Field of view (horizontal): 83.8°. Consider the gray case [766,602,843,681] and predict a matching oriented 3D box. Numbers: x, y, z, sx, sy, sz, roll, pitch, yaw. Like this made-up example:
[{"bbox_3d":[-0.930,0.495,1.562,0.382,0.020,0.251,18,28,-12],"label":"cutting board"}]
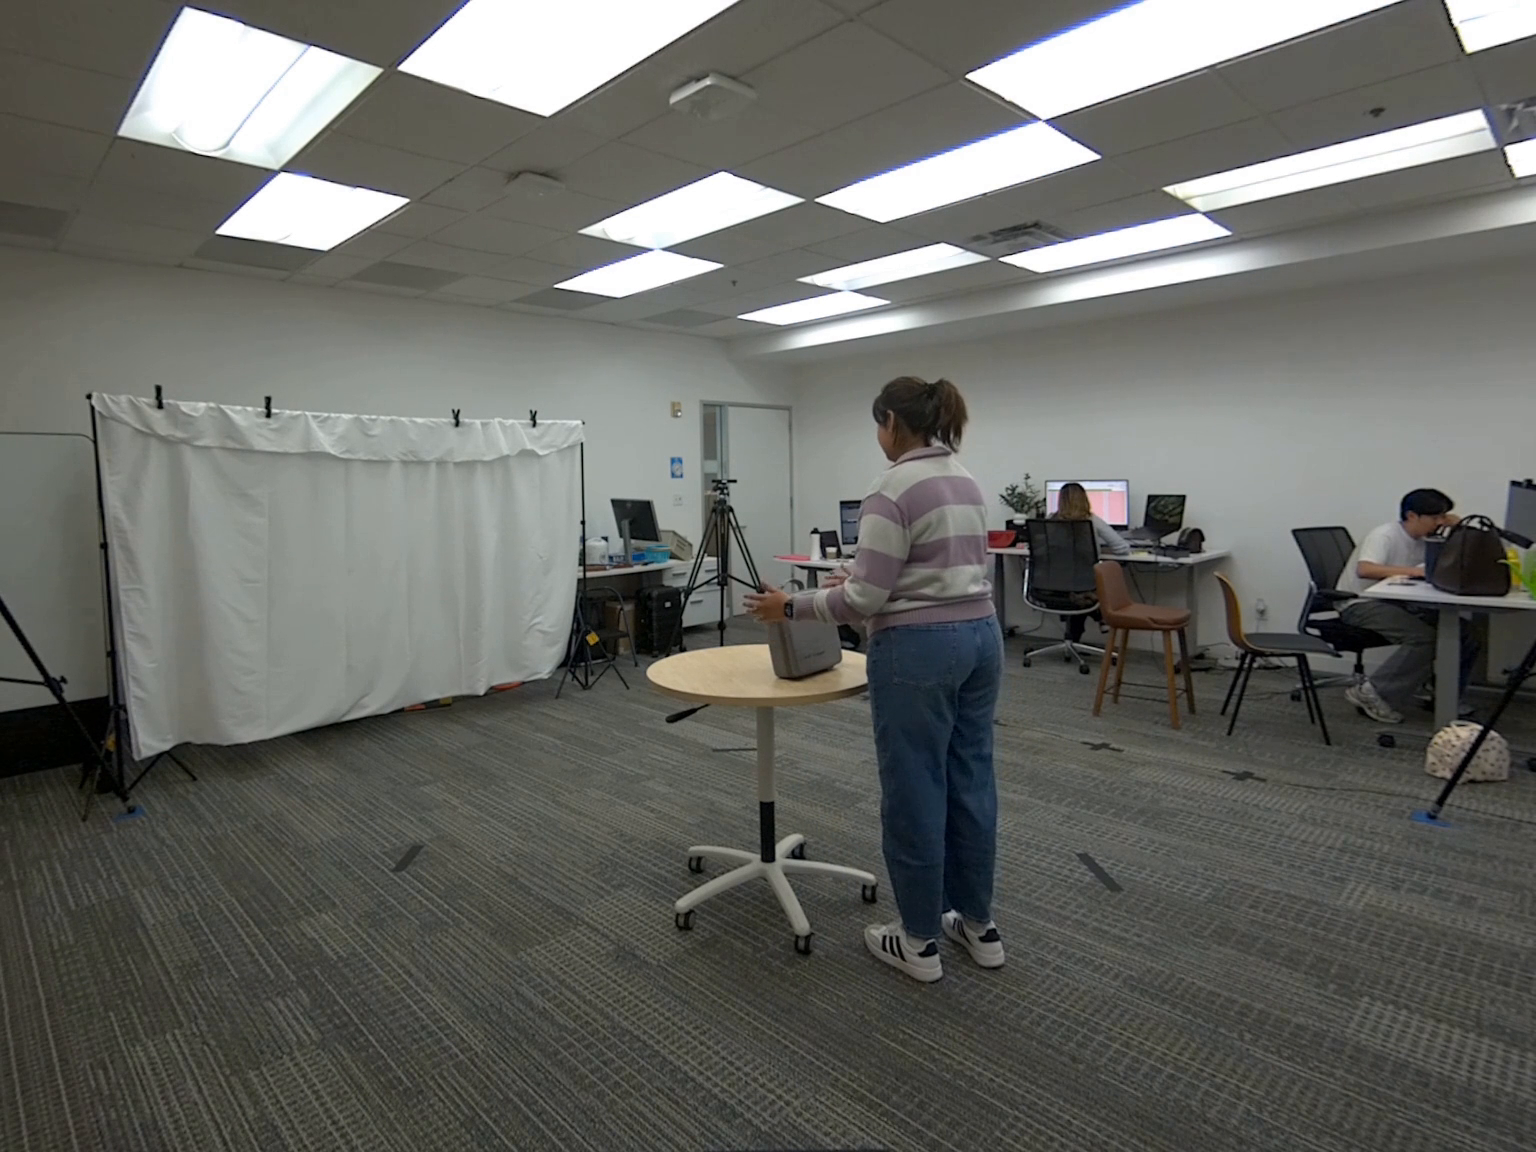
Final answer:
[{"bbox_3d":[0.112,0.174,2.693,0.106,0.262,0.250,-13,-5,42],"label":"gray case"}]
